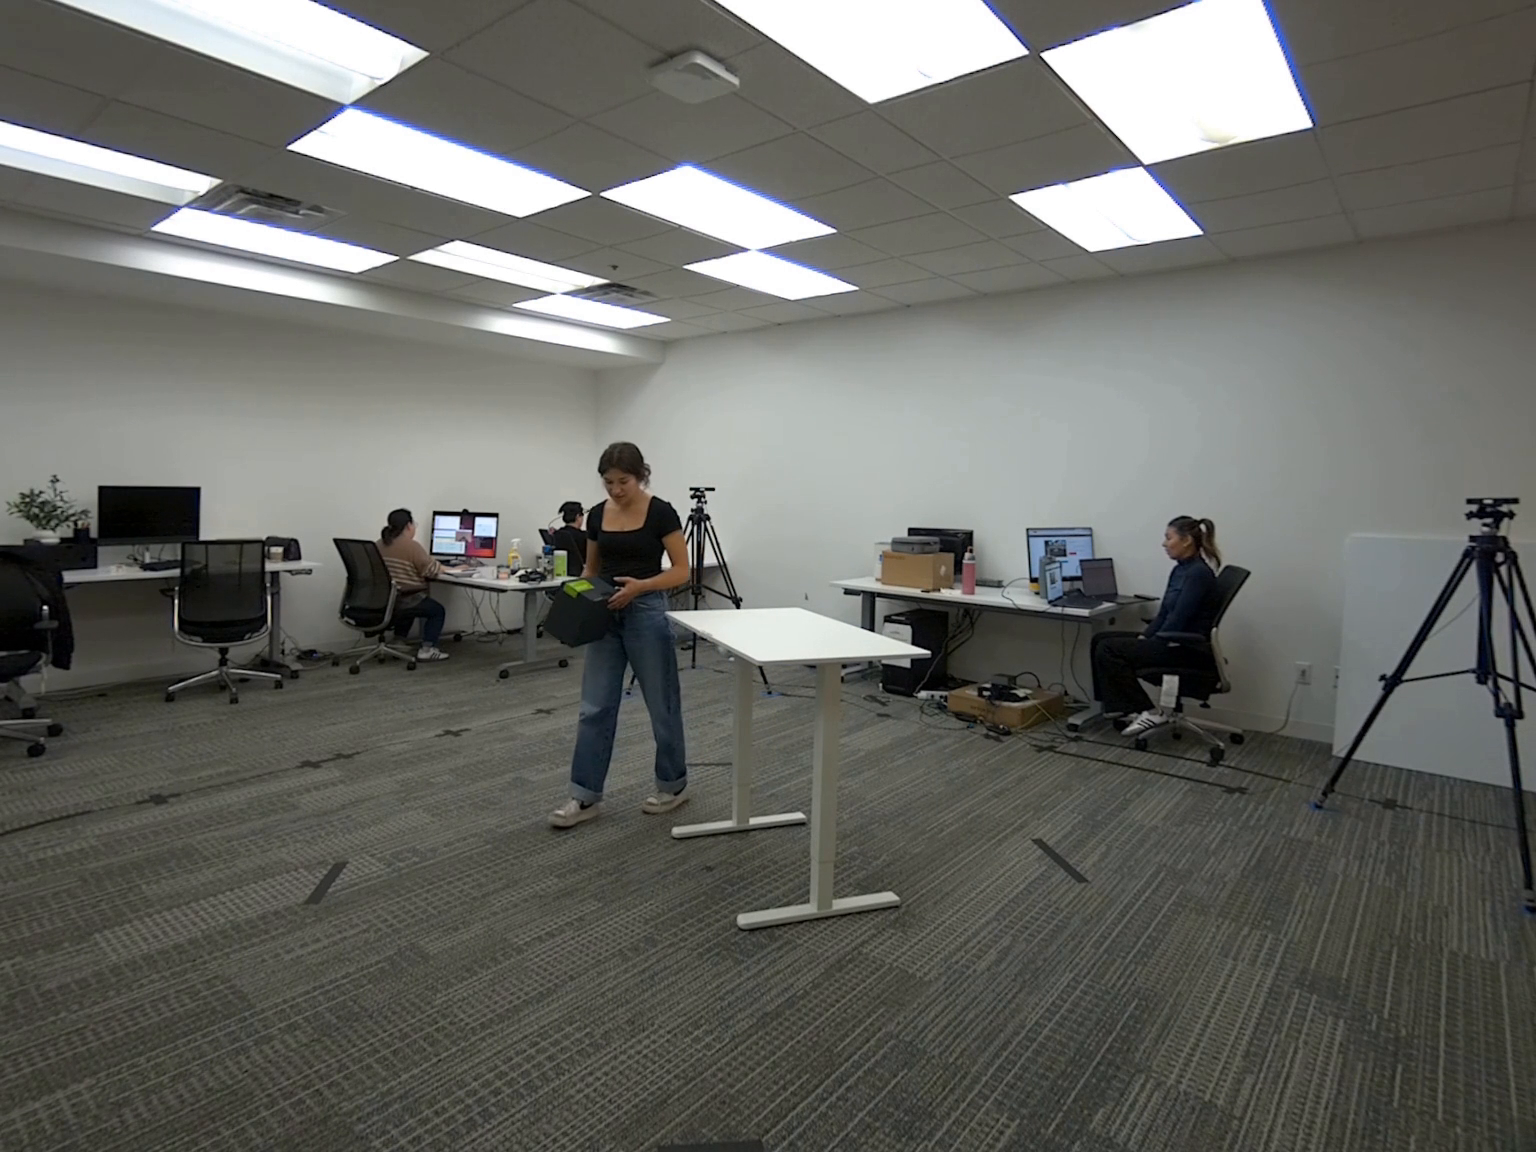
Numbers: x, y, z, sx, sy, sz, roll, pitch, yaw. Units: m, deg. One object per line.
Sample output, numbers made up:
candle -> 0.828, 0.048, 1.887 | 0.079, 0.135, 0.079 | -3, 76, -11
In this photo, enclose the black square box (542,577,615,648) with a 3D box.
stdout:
black square box -> -0.749, 0.129, 3.382 | 0.160, 0.215, 0.223 | 31, 15, 19
